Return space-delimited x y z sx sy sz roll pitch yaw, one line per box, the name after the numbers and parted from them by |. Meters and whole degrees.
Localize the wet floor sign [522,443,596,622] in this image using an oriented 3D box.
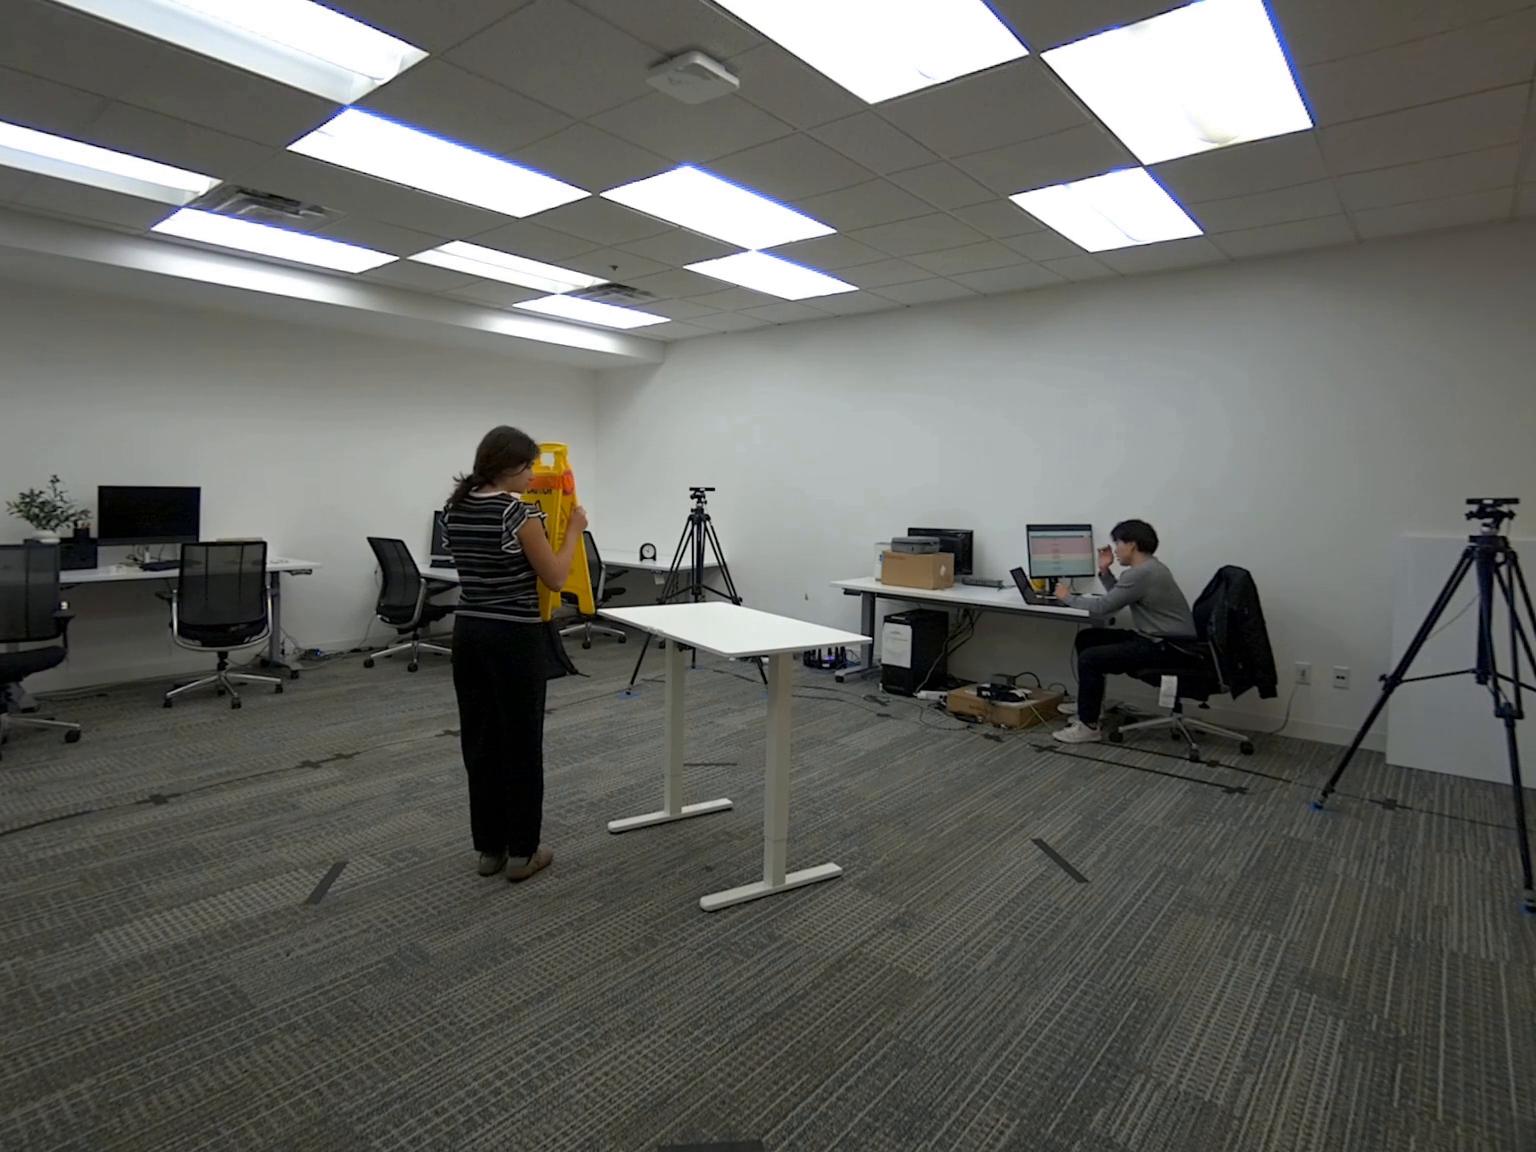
-0.861 -0.176 3.234 0.291 0.644 0.281 3 4 38 | wet floor sign
